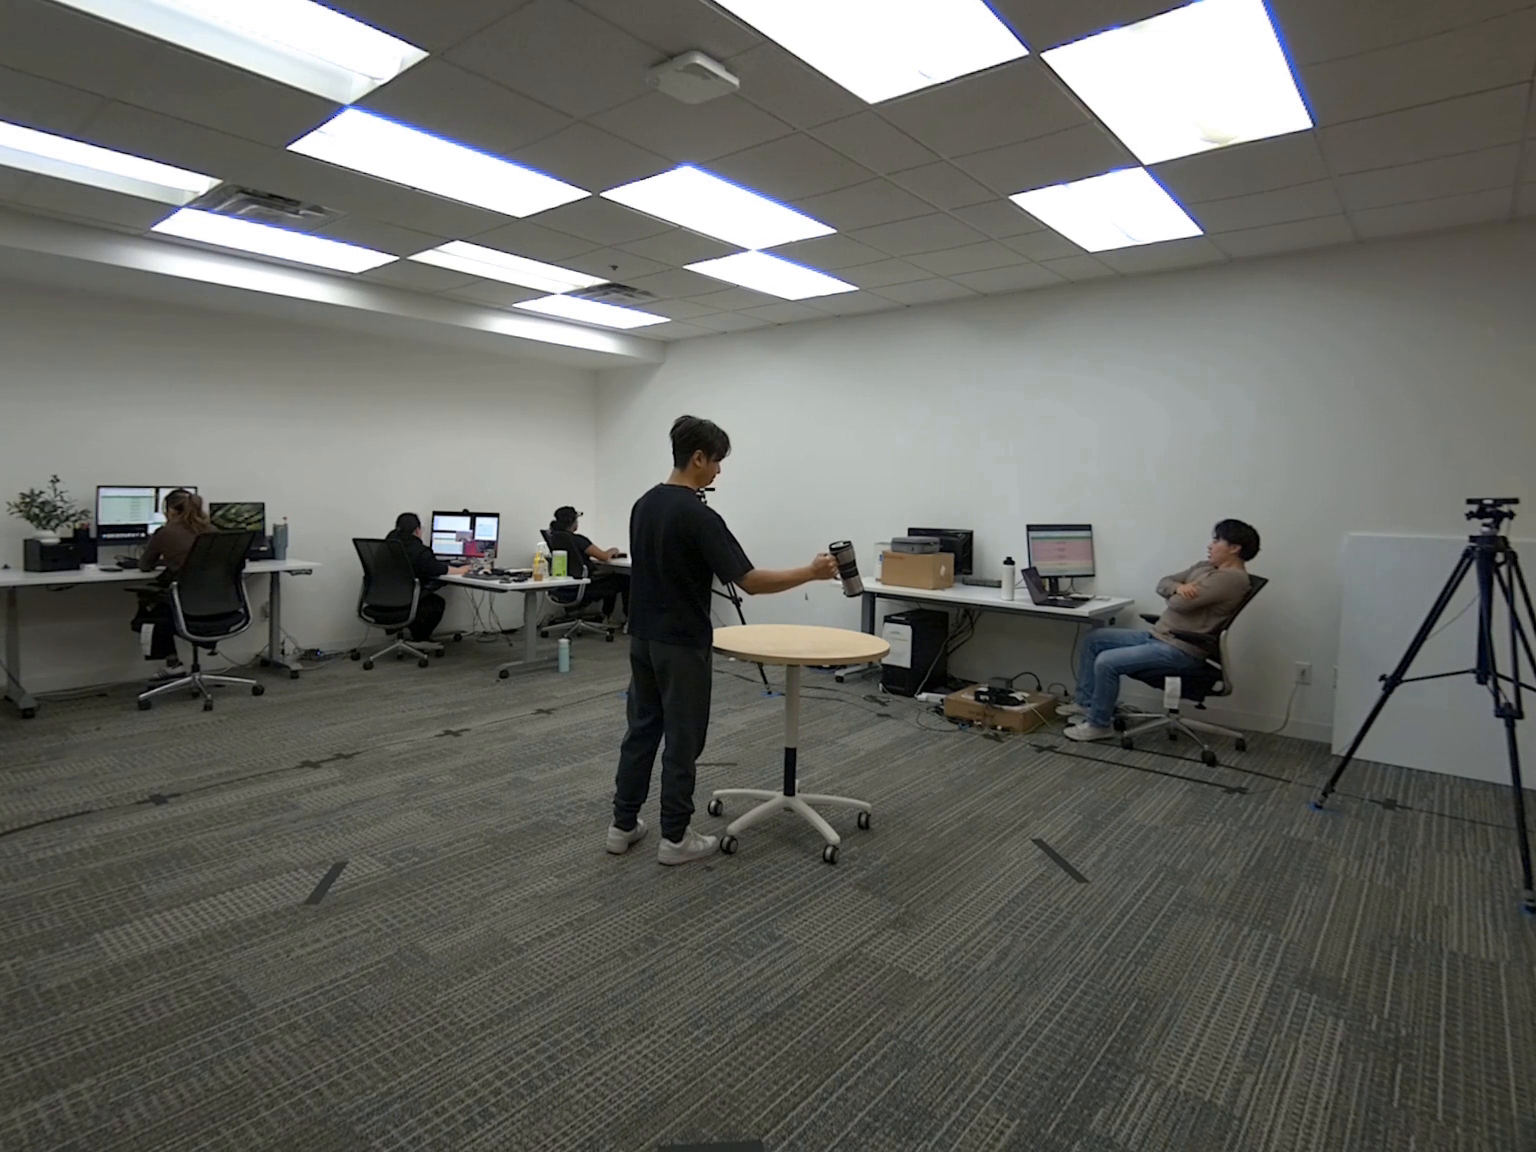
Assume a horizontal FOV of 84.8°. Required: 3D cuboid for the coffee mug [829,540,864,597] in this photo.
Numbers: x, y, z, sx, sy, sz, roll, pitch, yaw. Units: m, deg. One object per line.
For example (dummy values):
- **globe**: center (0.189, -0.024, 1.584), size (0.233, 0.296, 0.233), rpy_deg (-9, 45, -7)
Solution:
- **coffee mug**: center (0.267, -0.025, 3.141), size (0.124, 0.199, 0.088), rpy_deg (-8, 16, 20)
